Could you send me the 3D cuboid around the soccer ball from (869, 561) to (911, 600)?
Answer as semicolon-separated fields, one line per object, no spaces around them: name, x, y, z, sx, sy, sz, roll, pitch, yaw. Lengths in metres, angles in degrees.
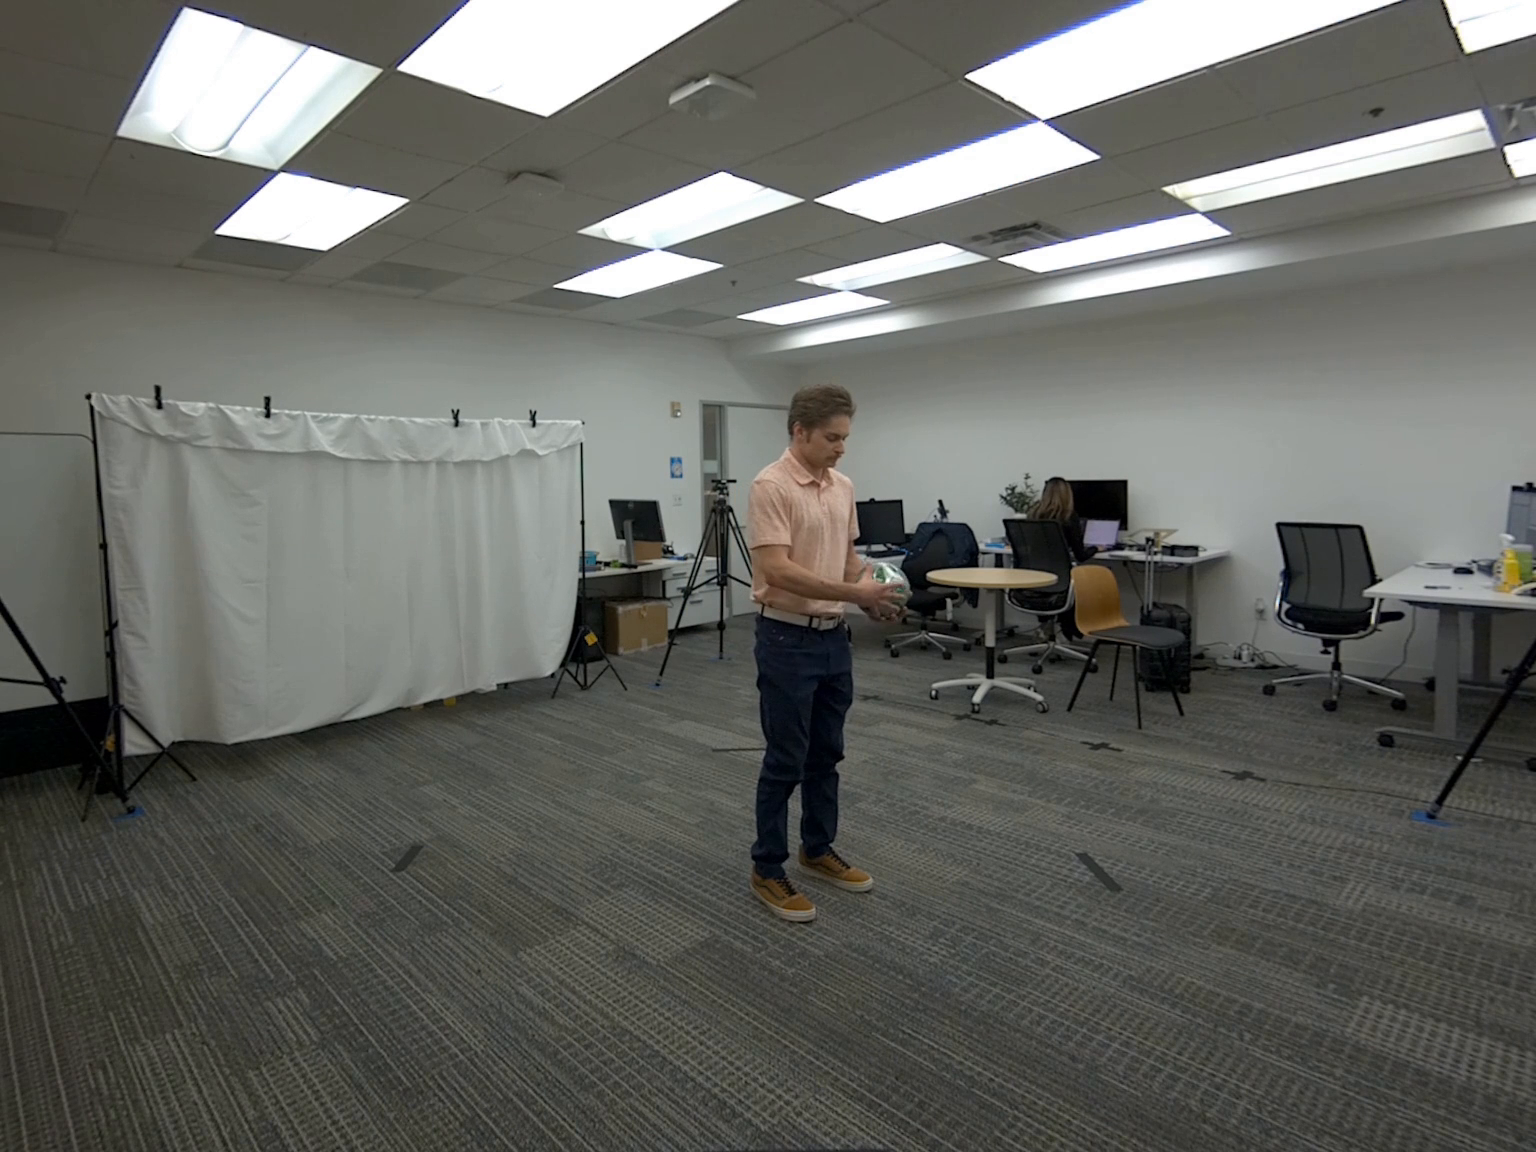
soccer ball;0.370;0.052;2.846;0.187;0.187;0.188;-1;5;-2
